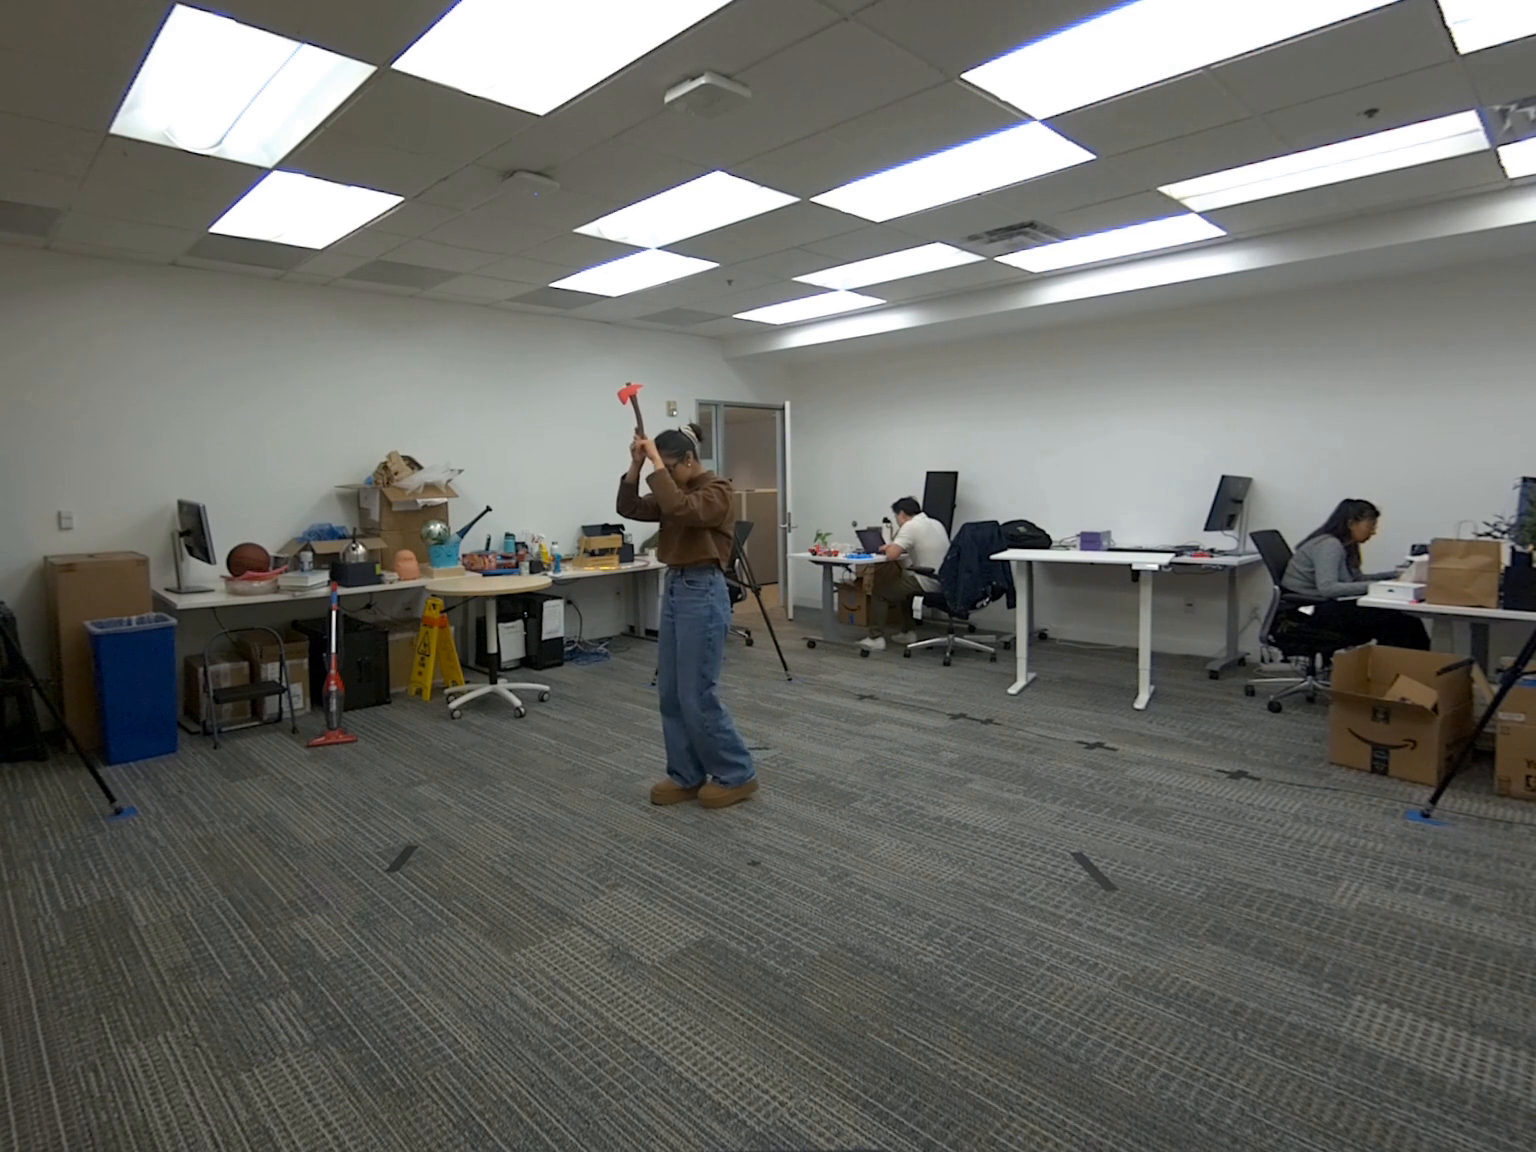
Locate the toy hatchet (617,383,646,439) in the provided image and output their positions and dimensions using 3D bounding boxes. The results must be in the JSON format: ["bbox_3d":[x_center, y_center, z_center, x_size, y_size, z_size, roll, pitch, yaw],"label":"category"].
[{"bbox_3d":[-0.565,-0.668,3.539,0.127,0.269,0.030,-5,5,-44],"label":"toy hatchet"}]
